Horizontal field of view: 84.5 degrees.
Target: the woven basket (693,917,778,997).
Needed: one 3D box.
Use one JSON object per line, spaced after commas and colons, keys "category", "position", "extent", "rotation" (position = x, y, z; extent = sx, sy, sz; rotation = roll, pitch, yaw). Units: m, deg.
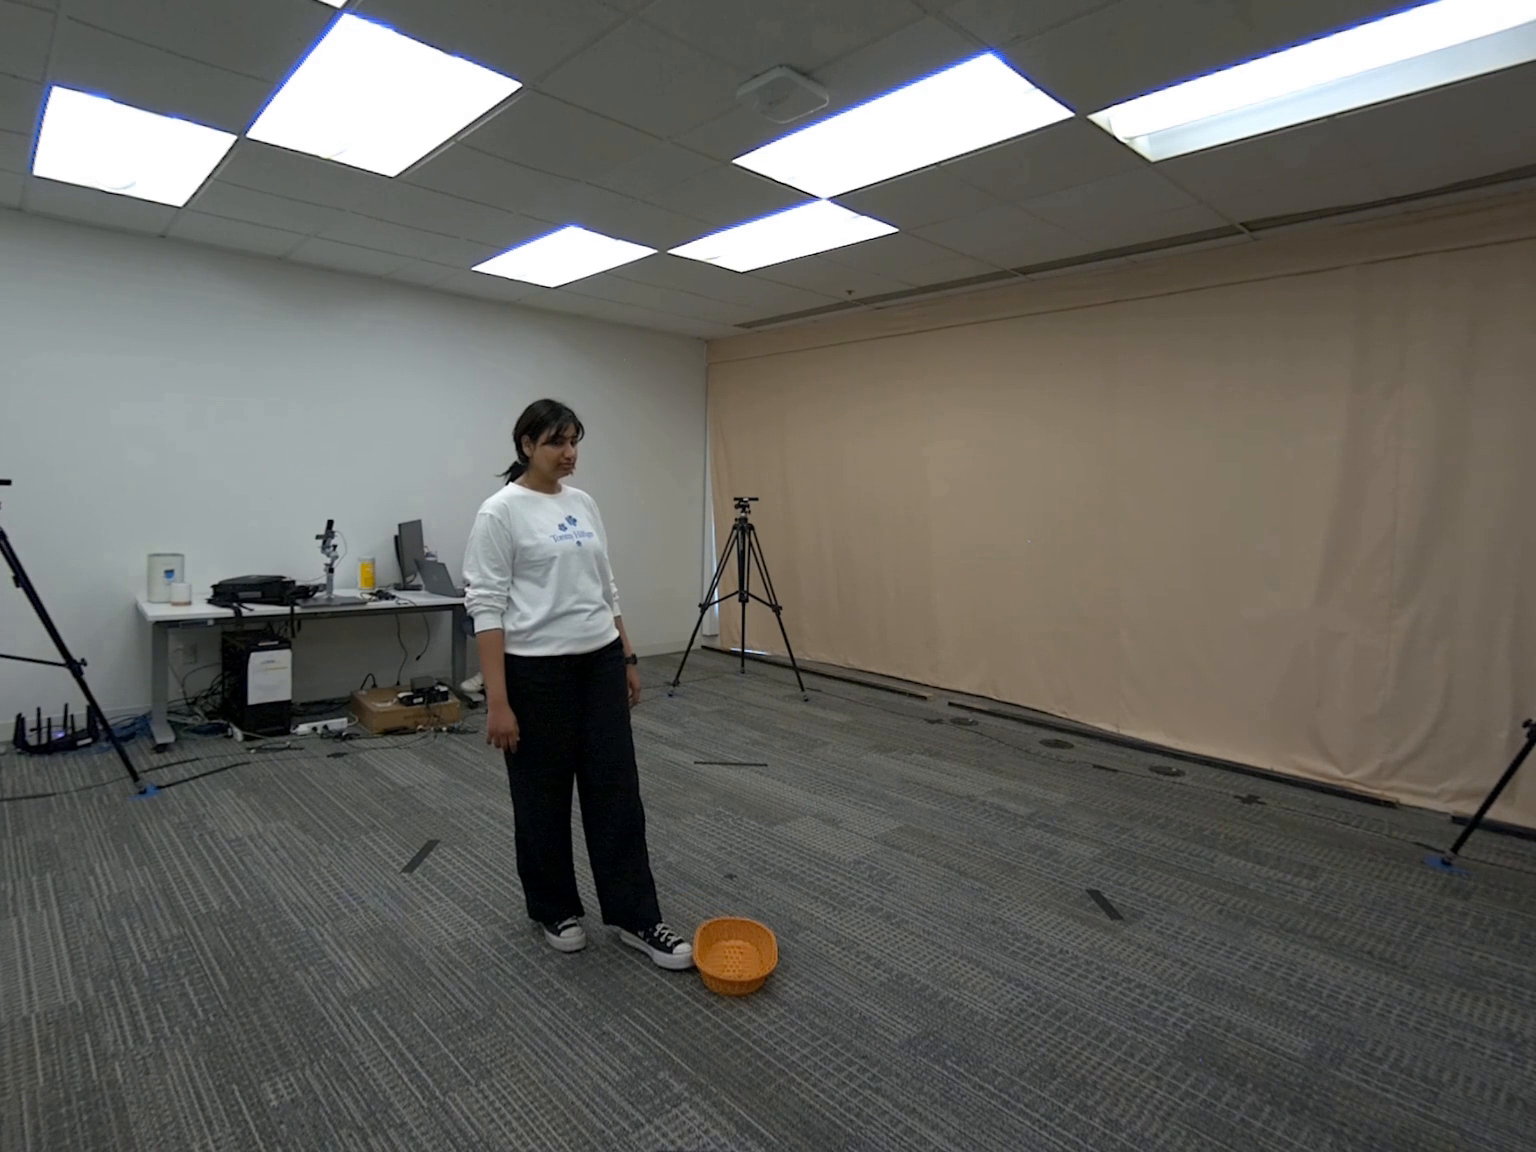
{"category": "woven basket", "position": [-0.109, 1.124, 2.489], "extent": [0.253, 0.073, 0.351], "rotation": [4, 5, 1]}
